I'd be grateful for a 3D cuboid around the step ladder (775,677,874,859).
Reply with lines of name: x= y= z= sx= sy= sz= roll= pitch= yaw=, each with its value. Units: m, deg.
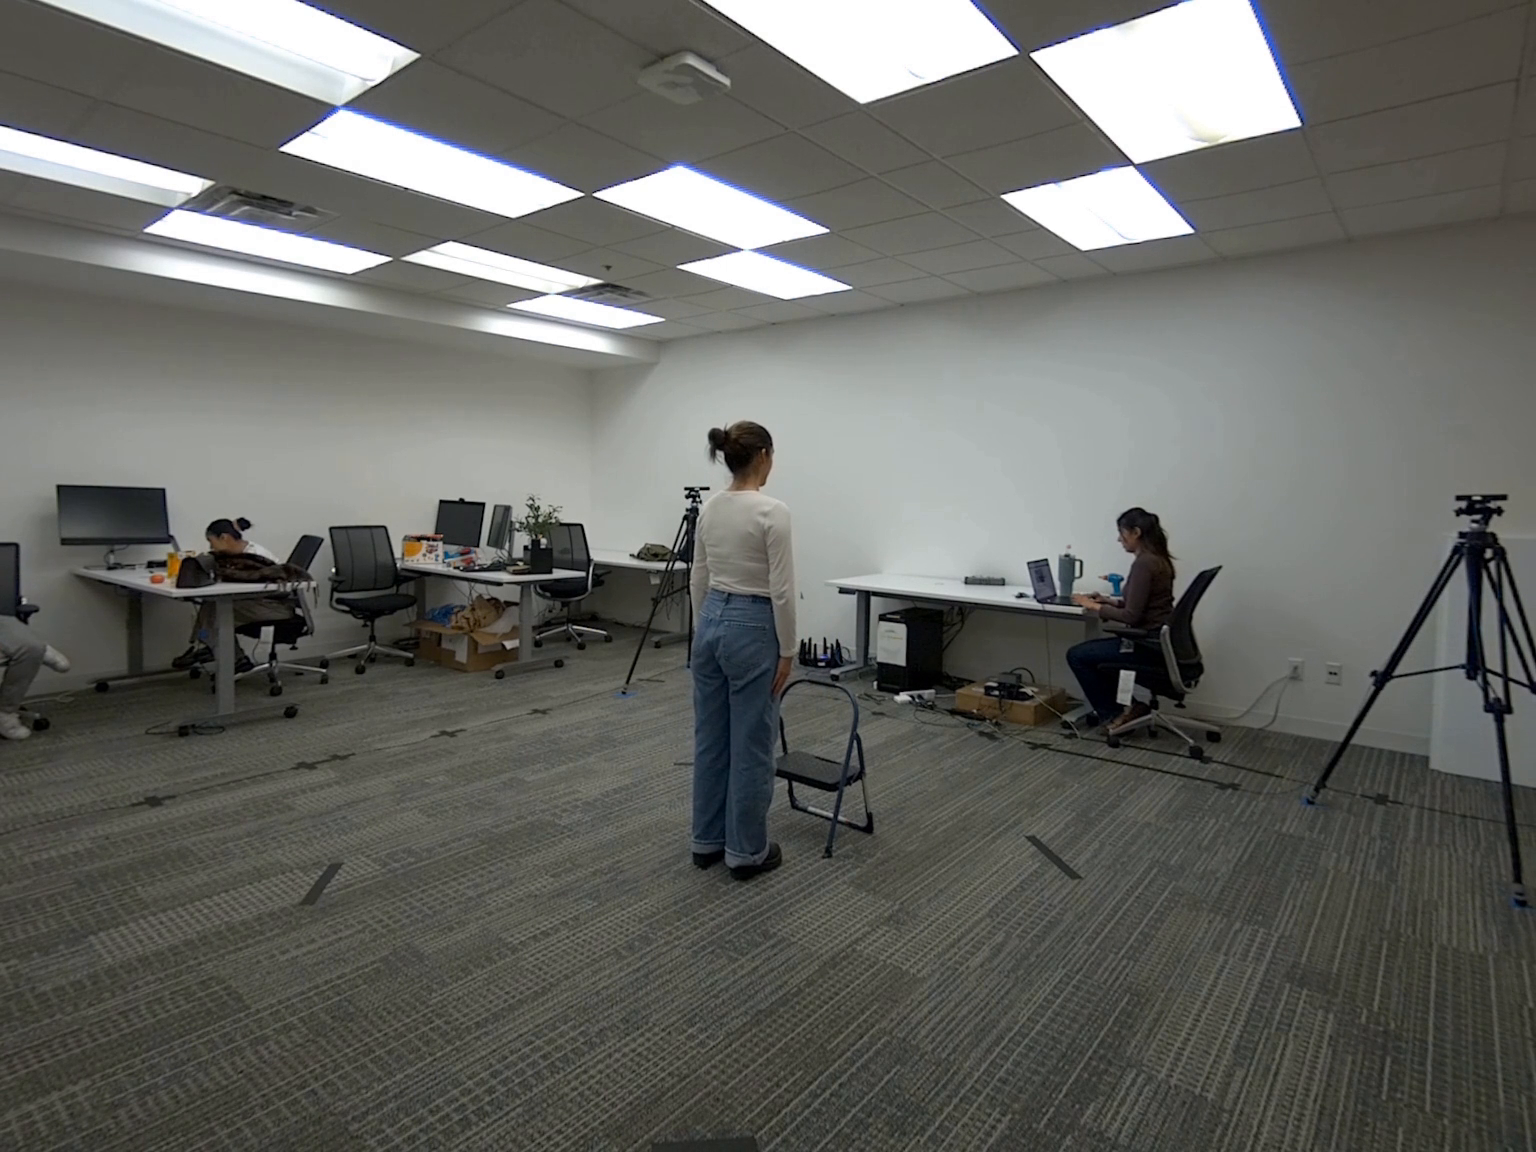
step ladder: x=0.165 y=0.734 z=3.460 sx=0.445 sy=0.604 sz=0.339 roll=4 pitch=5 yaw=39
